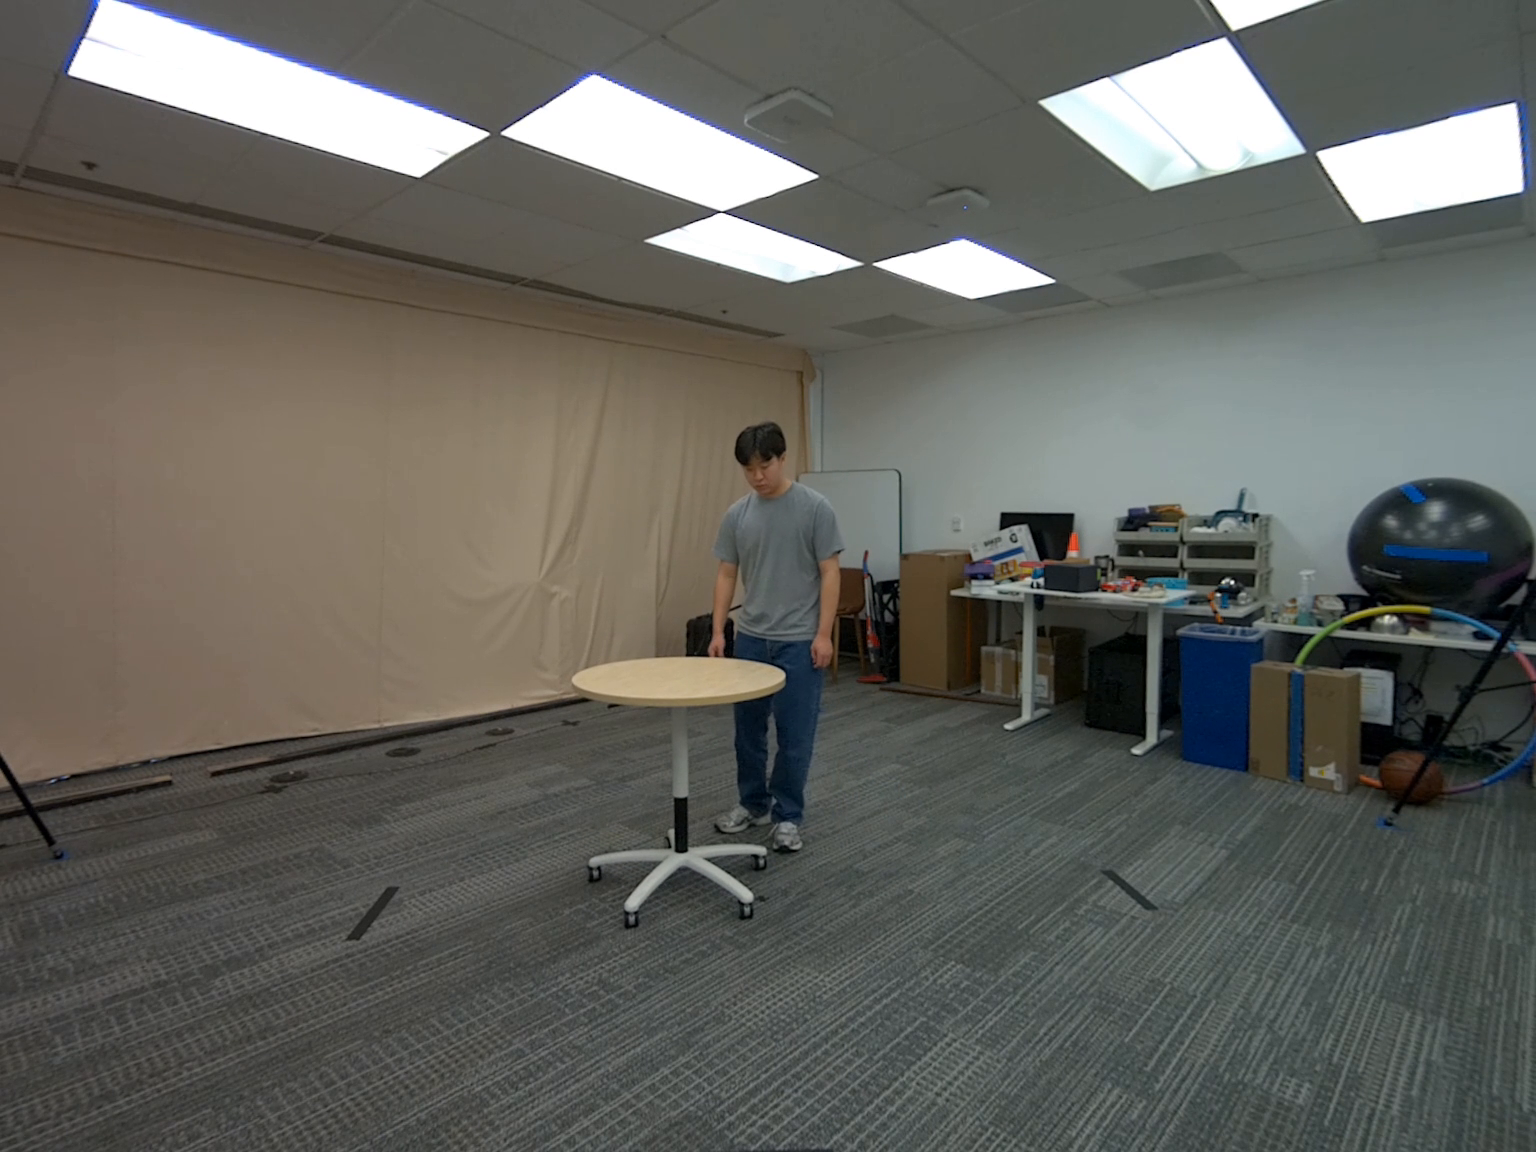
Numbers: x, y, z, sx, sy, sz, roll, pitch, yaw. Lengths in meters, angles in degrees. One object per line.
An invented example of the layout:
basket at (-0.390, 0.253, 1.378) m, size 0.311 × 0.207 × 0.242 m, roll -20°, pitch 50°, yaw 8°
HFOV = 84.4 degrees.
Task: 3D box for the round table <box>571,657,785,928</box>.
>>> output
round table at (-0.318, 0.752, 3.051) m, size 0.763 × 0.792 × 0.766 m, roll -1°, pitch 3°, yaw -2°
